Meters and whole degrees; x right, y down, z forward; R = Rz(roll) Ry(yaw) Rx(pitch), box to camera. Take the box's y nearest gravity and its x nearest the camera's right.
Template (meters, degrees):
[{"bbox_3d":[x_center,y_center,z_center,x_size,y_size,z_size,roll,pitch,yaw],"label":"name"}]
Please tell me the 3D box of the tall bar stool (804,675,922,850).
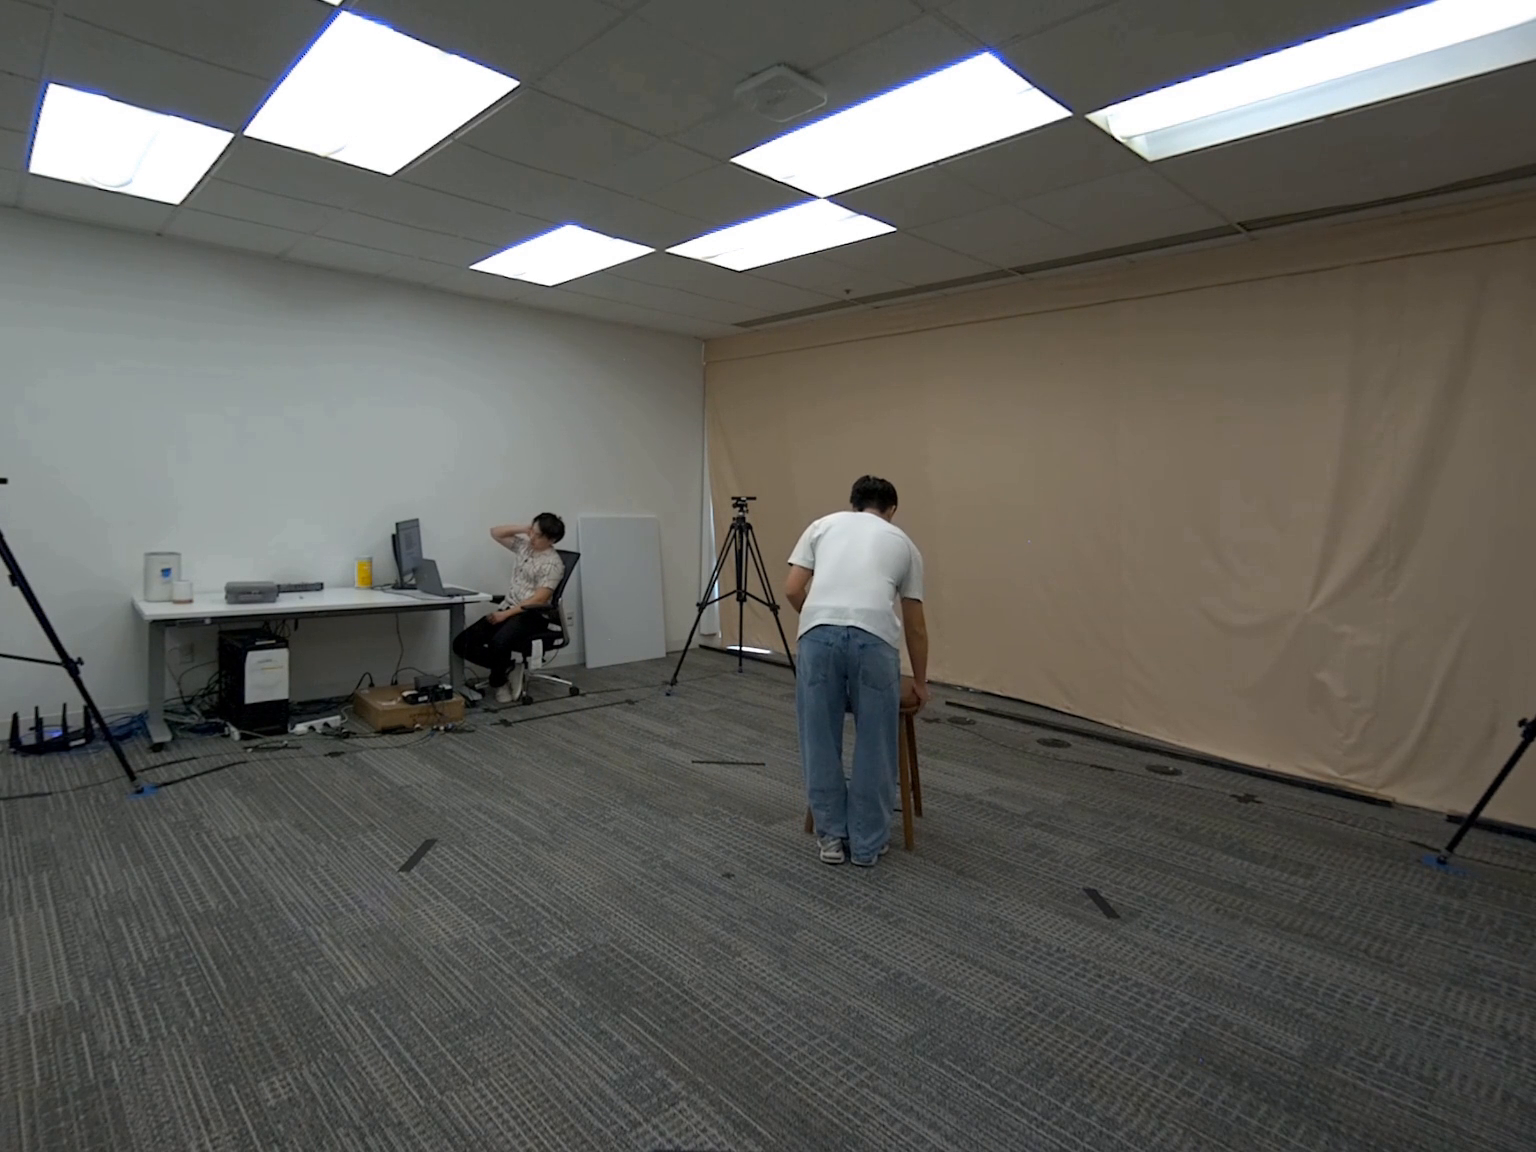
[{"bbox_3d":[0.423,0.643,3.620,0.474,0.889,0.451,0,2,17],"label":"tall bar stool"}]
